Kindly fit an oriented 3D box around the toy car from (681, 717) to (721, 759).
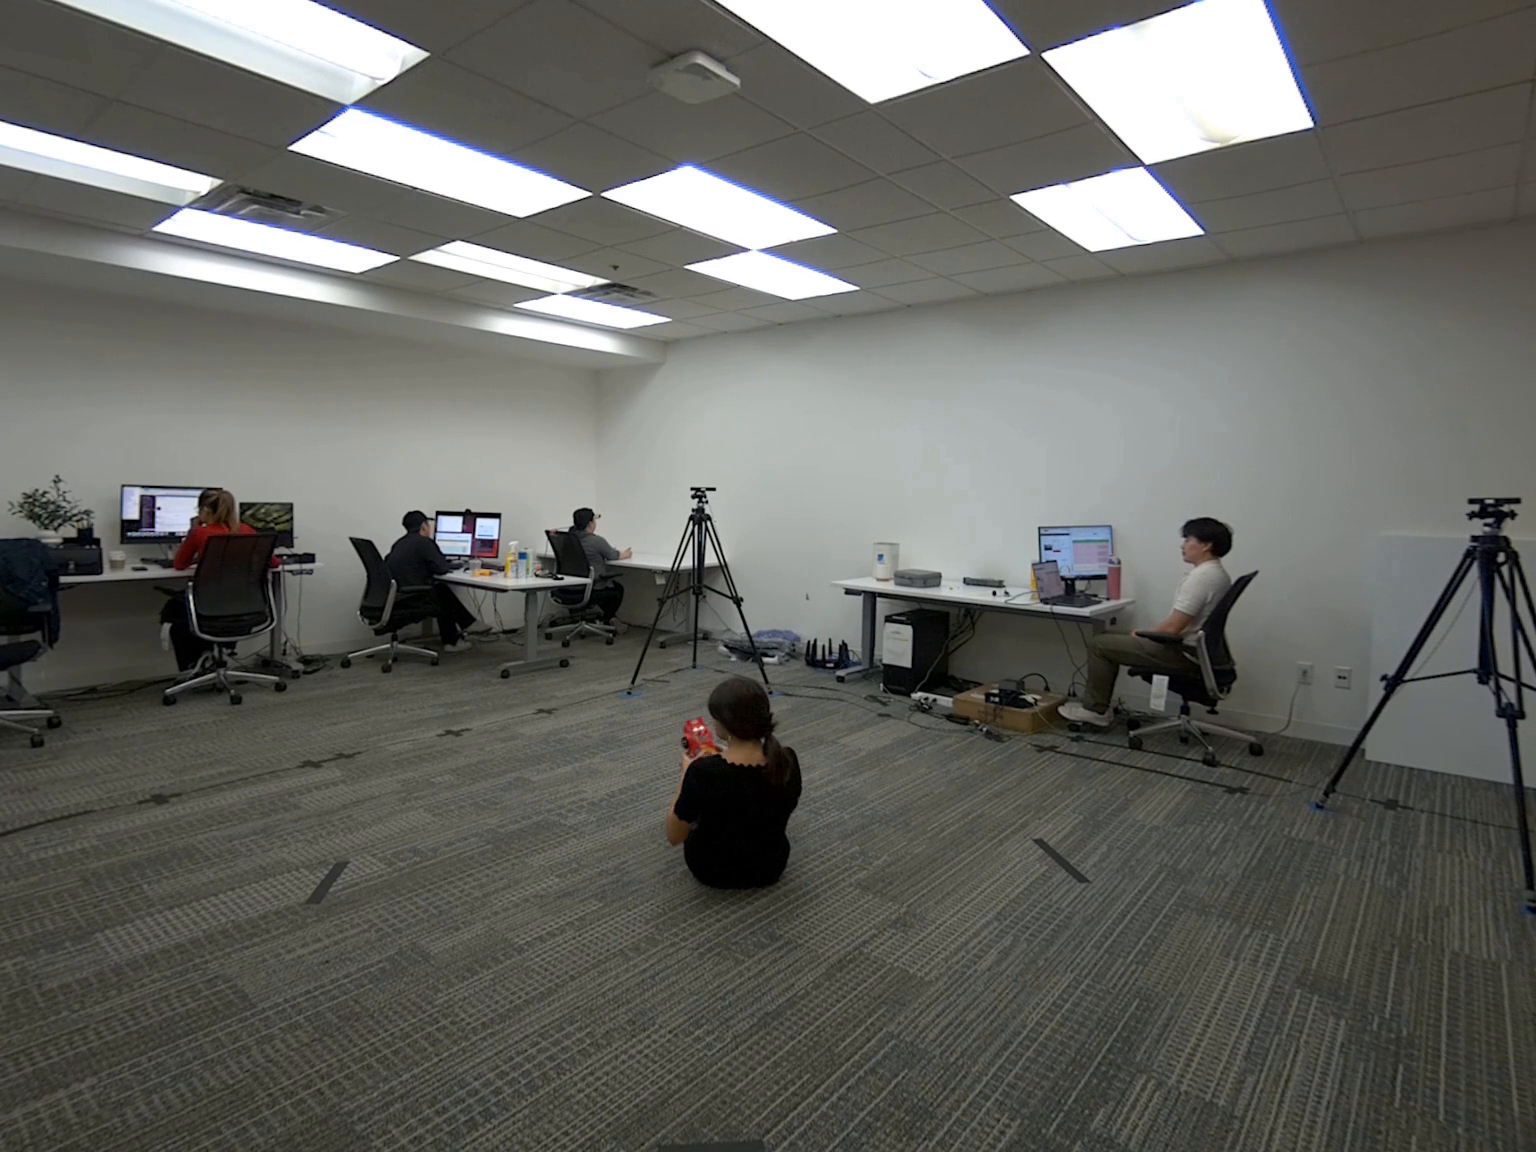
[{"bbox_3d":[-0.238,0.673,3.178,0.127,0.258,0.084,-7,-15,-36],"label":"toy car"}]
